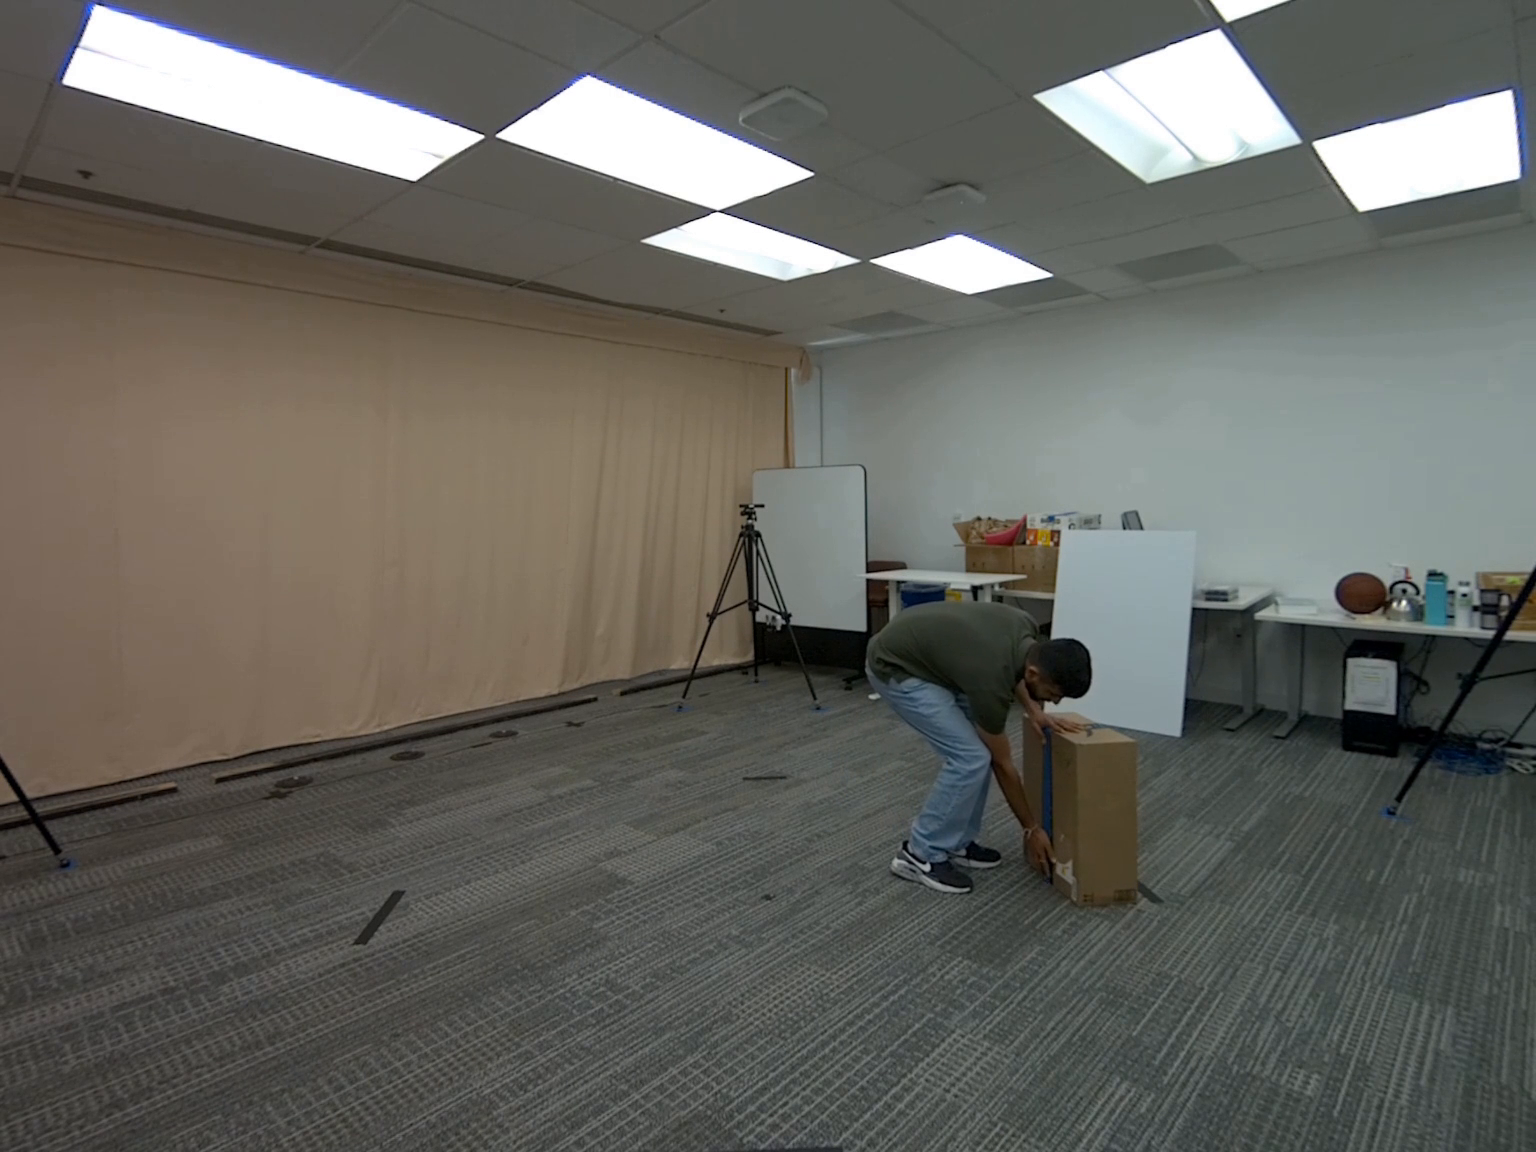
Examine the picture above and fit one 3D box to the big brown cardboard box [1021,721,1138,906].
[{"bbox_3d":[1.132,0.836,3.068,0.231,0.588,0.421,-1,3,-8],"label":"big brown cardboard box"}]
